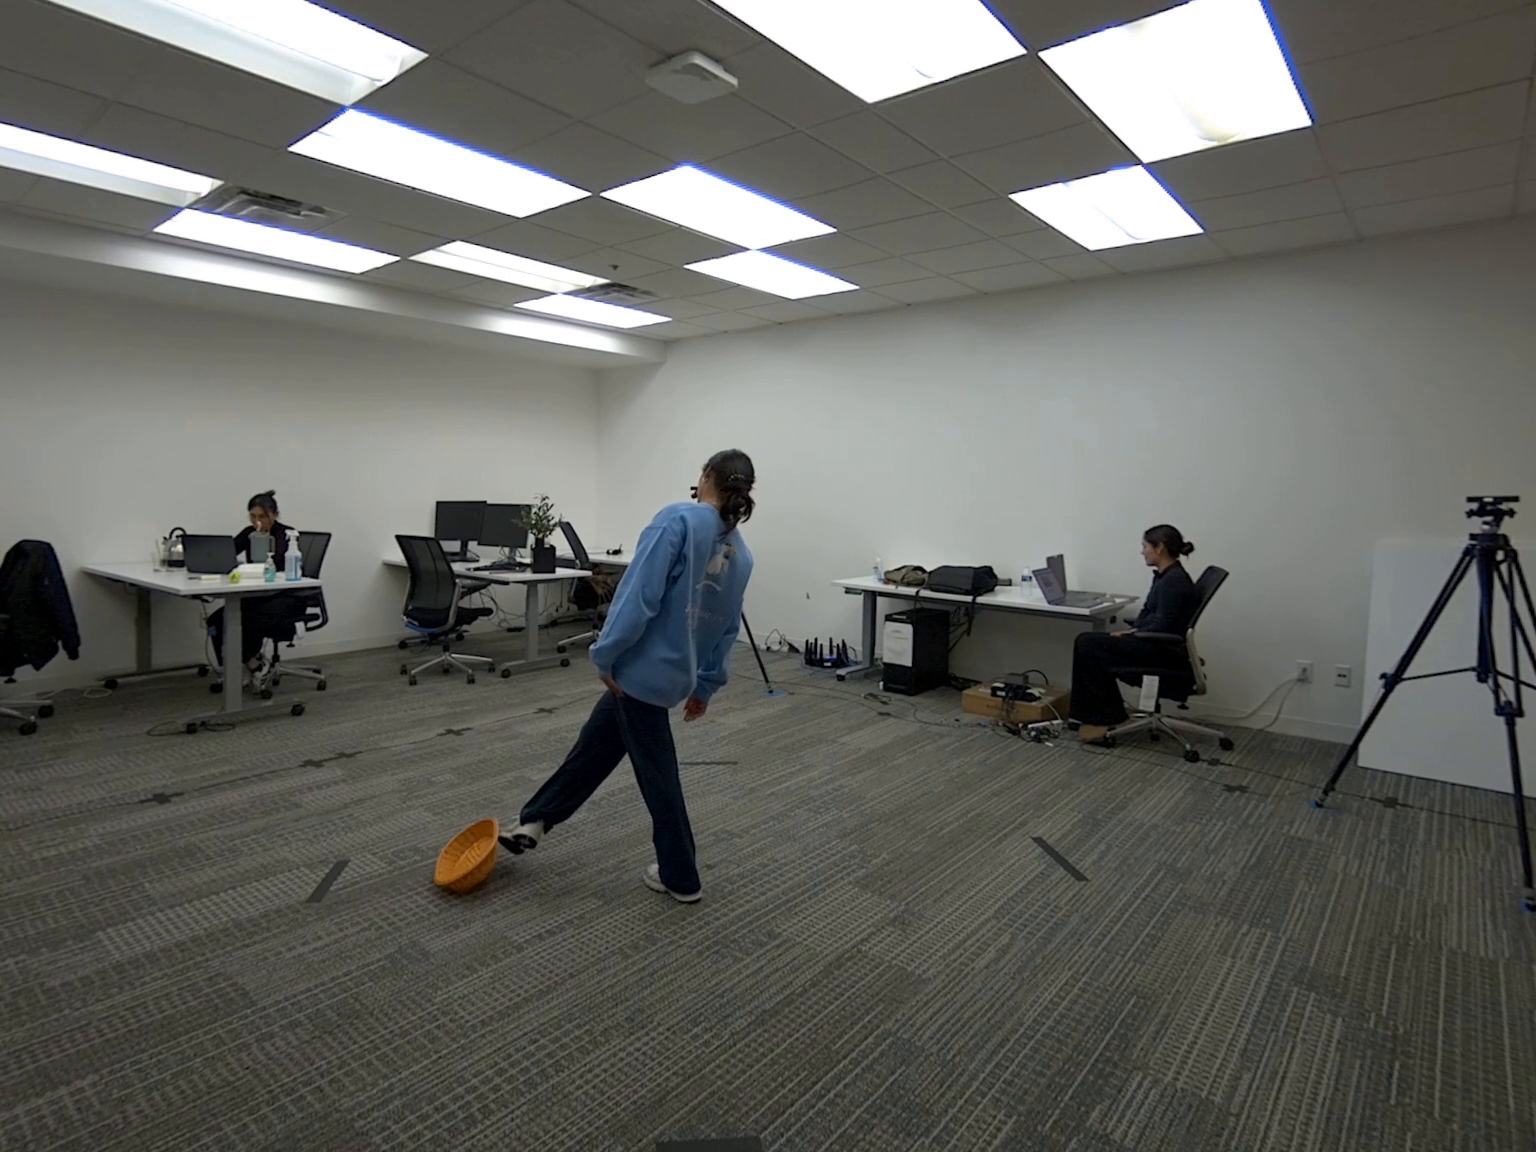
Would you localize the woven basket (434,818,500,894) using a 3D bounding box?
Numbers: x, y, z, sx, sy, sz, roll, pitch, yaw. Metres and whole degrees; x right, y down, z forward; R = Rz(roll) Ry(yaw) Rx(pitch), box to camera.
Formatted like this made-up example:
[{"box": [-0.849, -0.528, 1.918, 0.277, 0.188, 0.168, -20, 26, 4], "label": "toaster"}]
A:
[{"box": [-1.057, 0.992, 2.994, 0.251, 0.072, 0.358, -30, 15, -10], "label": "woven basket"}]
